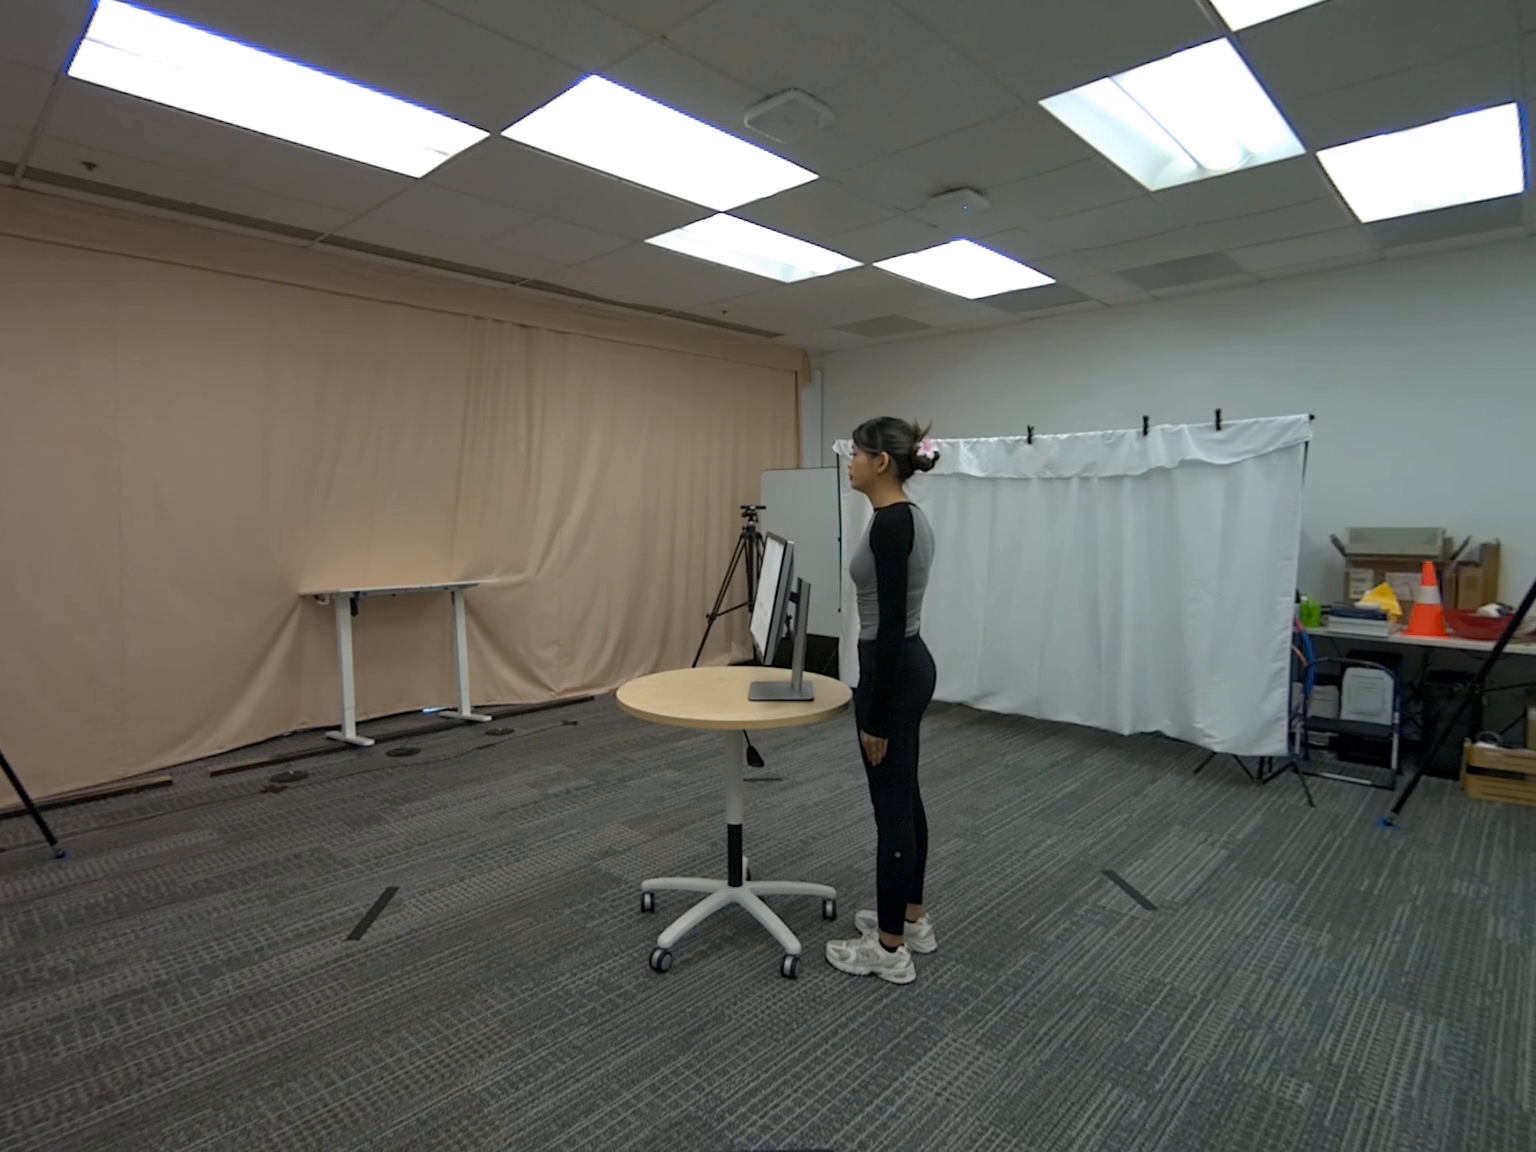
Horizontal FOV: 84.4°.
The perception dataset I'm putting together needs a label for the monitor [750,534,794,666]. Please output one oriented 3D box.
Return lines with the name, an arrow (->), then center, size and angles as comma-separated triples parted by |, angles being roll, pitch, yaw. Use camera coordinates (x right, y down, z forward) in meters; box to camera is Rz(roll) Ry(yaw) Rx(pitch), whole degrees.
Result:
monitor -> 0.048, 0.129, 2.691 | 0.186, 0.521, 0.544 | -3, 5, -7
